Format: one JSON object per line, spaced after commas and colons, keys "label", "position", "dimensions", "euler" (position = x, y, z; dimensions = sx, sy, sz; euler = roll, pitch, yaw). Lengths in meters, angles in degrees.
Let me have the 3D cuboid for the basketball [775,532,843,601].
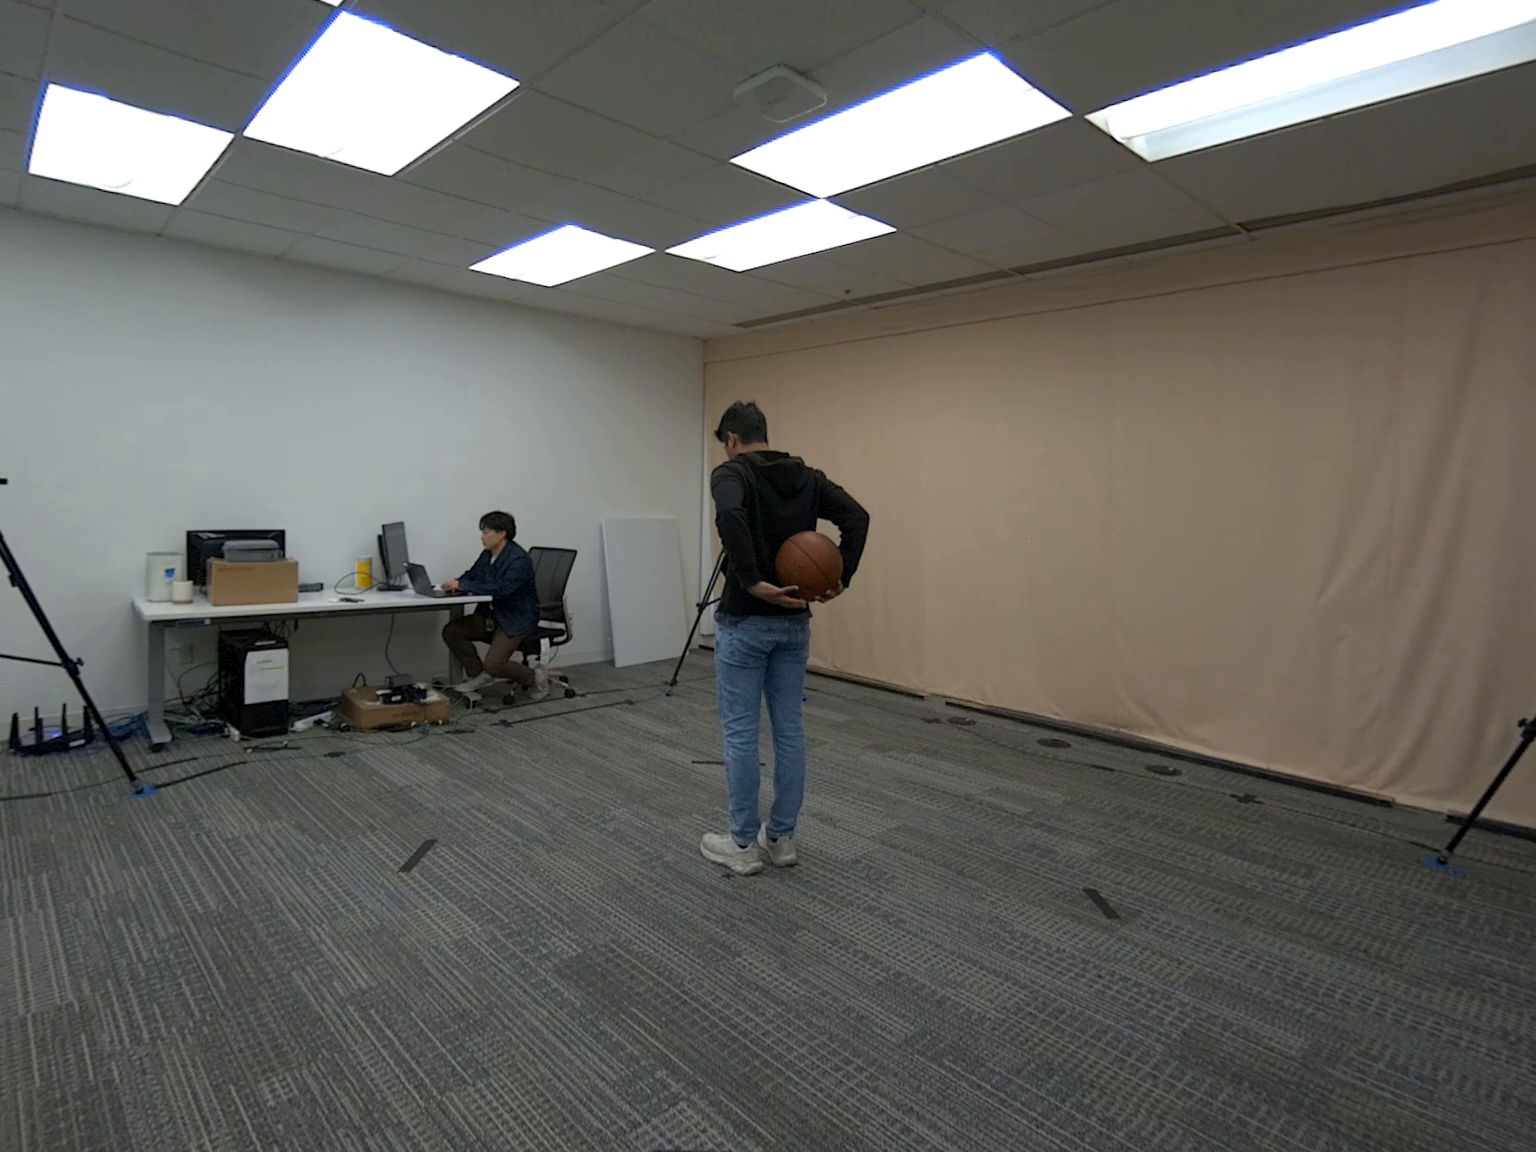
{"label": "basketball", "position": [0.138, -0.038, 3.000], "dimensions": [0.236, 0.235, 0.237], "euler": [1, 4, -1]}
